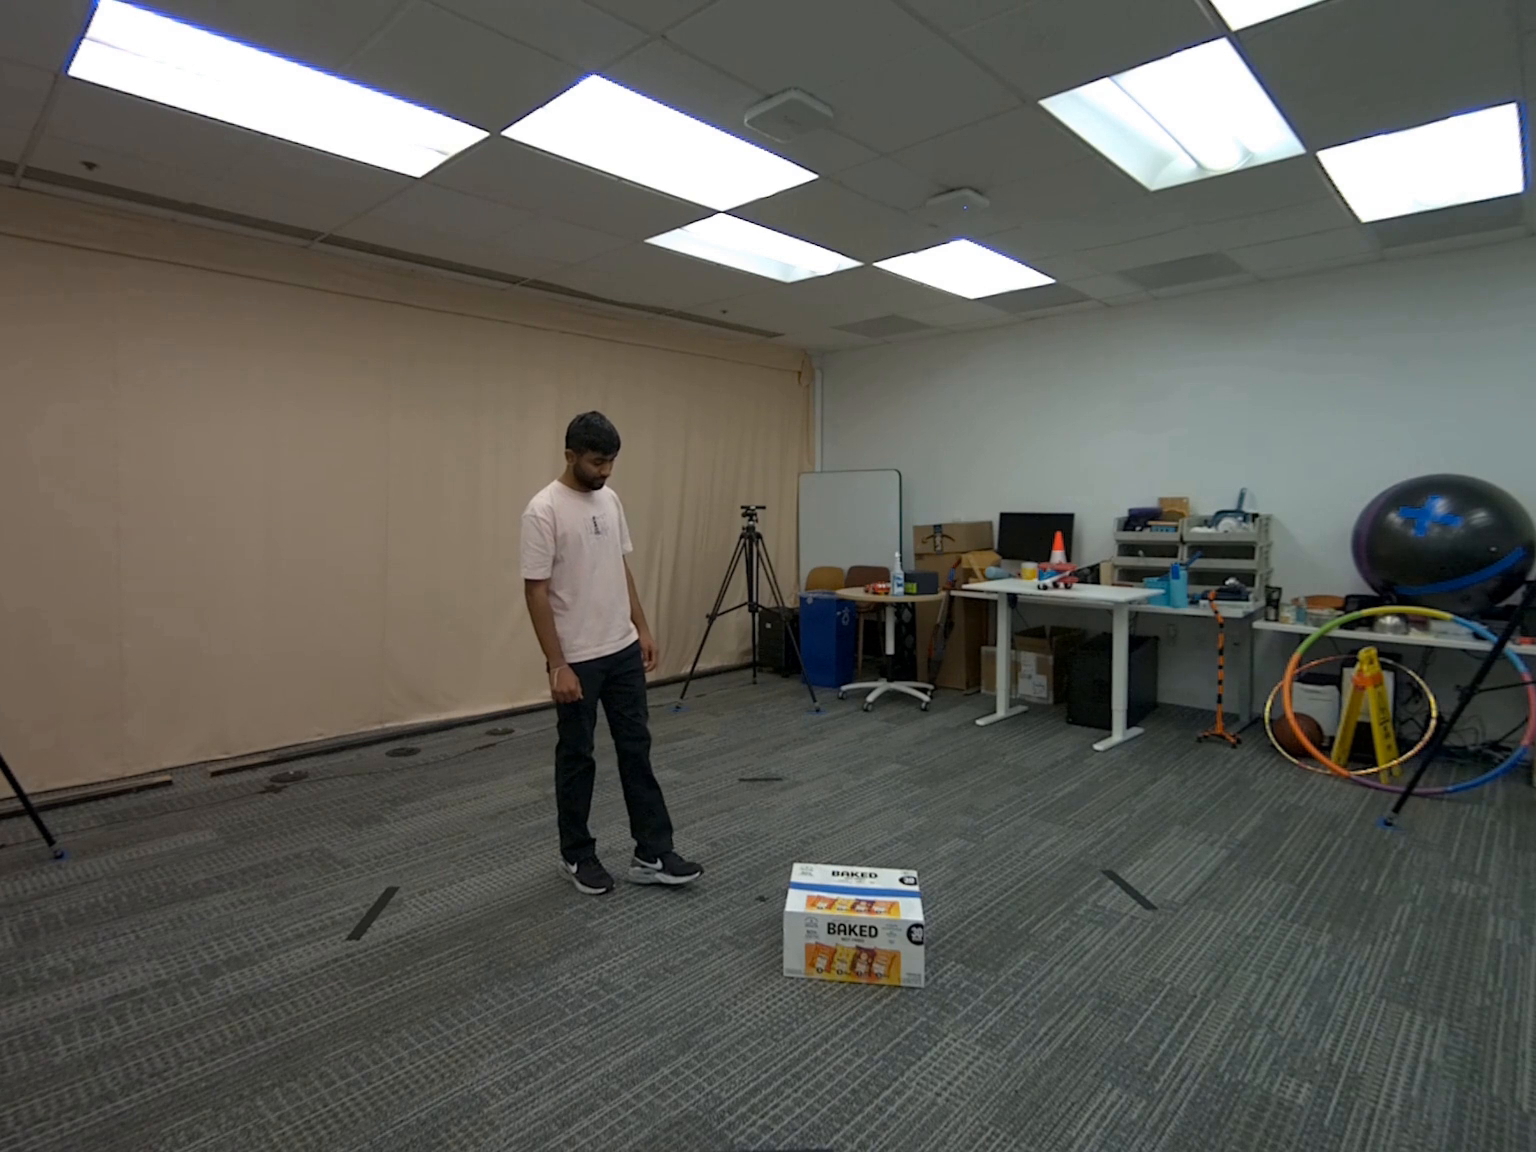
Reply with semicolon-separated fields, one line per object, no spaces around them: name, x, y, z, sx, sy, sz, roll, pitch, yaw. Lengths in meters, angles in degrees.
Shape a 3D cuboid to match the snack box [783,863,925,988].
snack box;0.271;1.075;2.605;0.409;0.205;0.338;0;4;8
